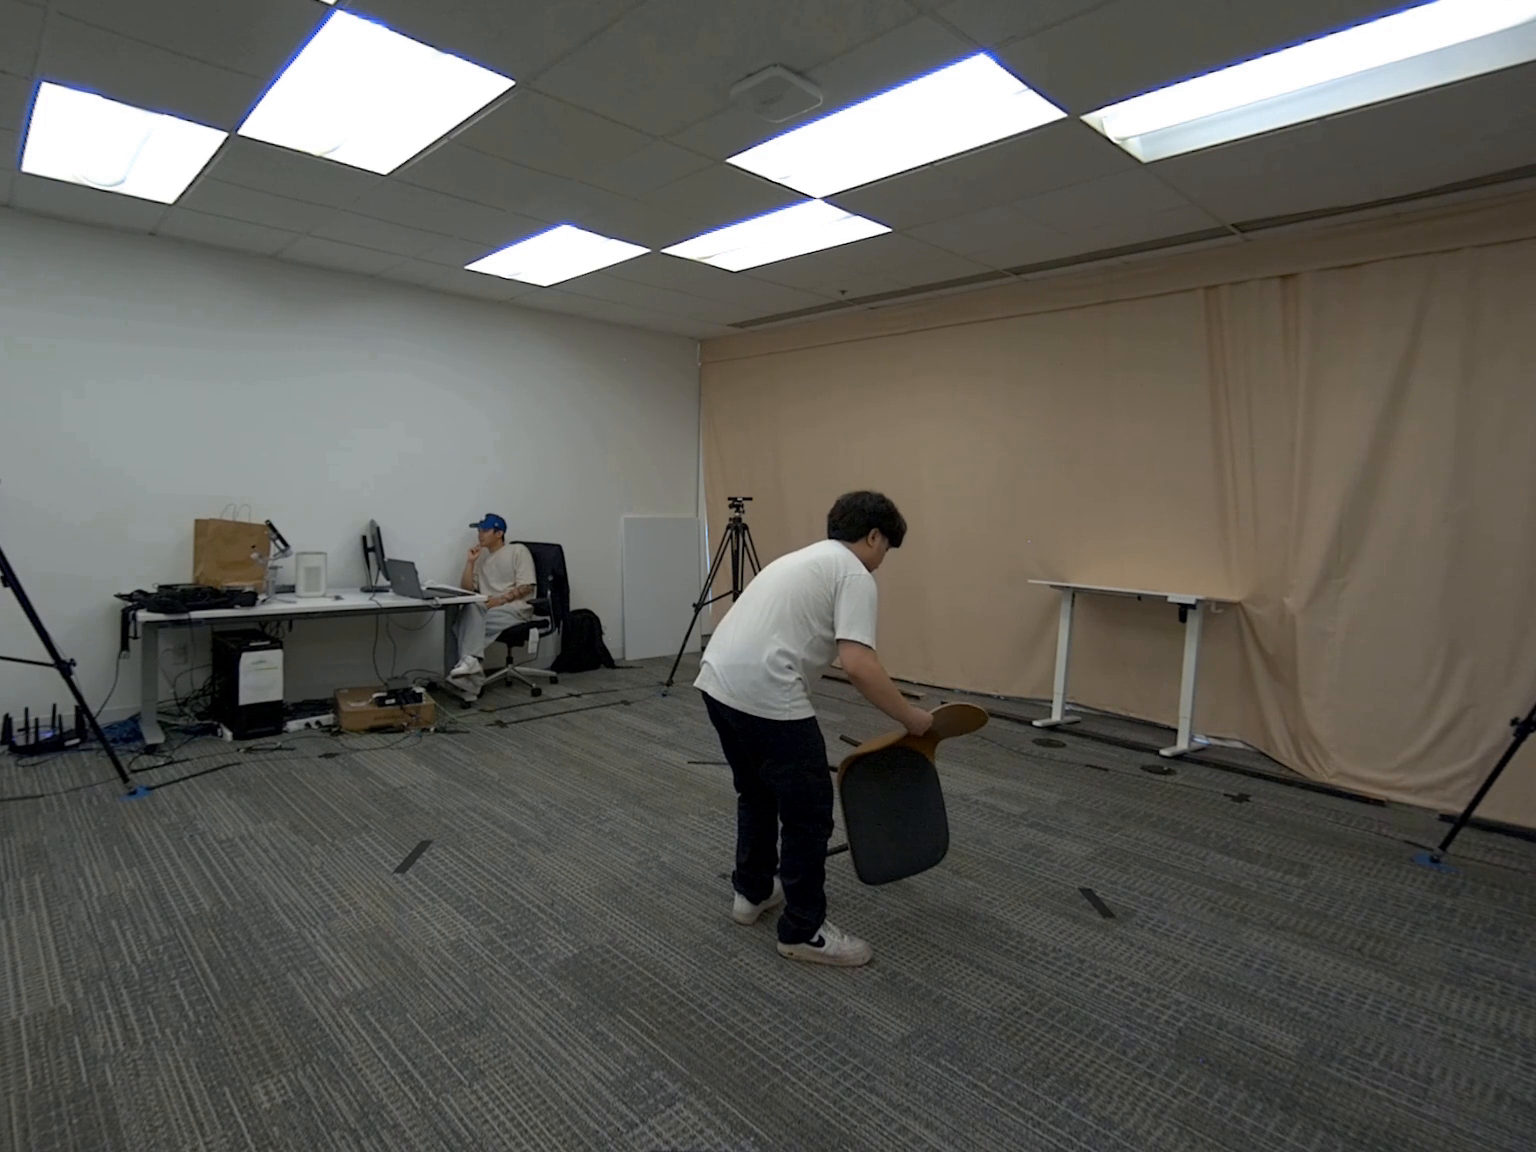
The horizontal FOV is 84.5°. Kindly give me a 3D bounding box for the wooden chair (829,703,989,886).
[{"bbox_3d":[0.404,0.789,2.961,0.467,0.530,0.885,0,-18,-36],"label":"wooden chair"}]
